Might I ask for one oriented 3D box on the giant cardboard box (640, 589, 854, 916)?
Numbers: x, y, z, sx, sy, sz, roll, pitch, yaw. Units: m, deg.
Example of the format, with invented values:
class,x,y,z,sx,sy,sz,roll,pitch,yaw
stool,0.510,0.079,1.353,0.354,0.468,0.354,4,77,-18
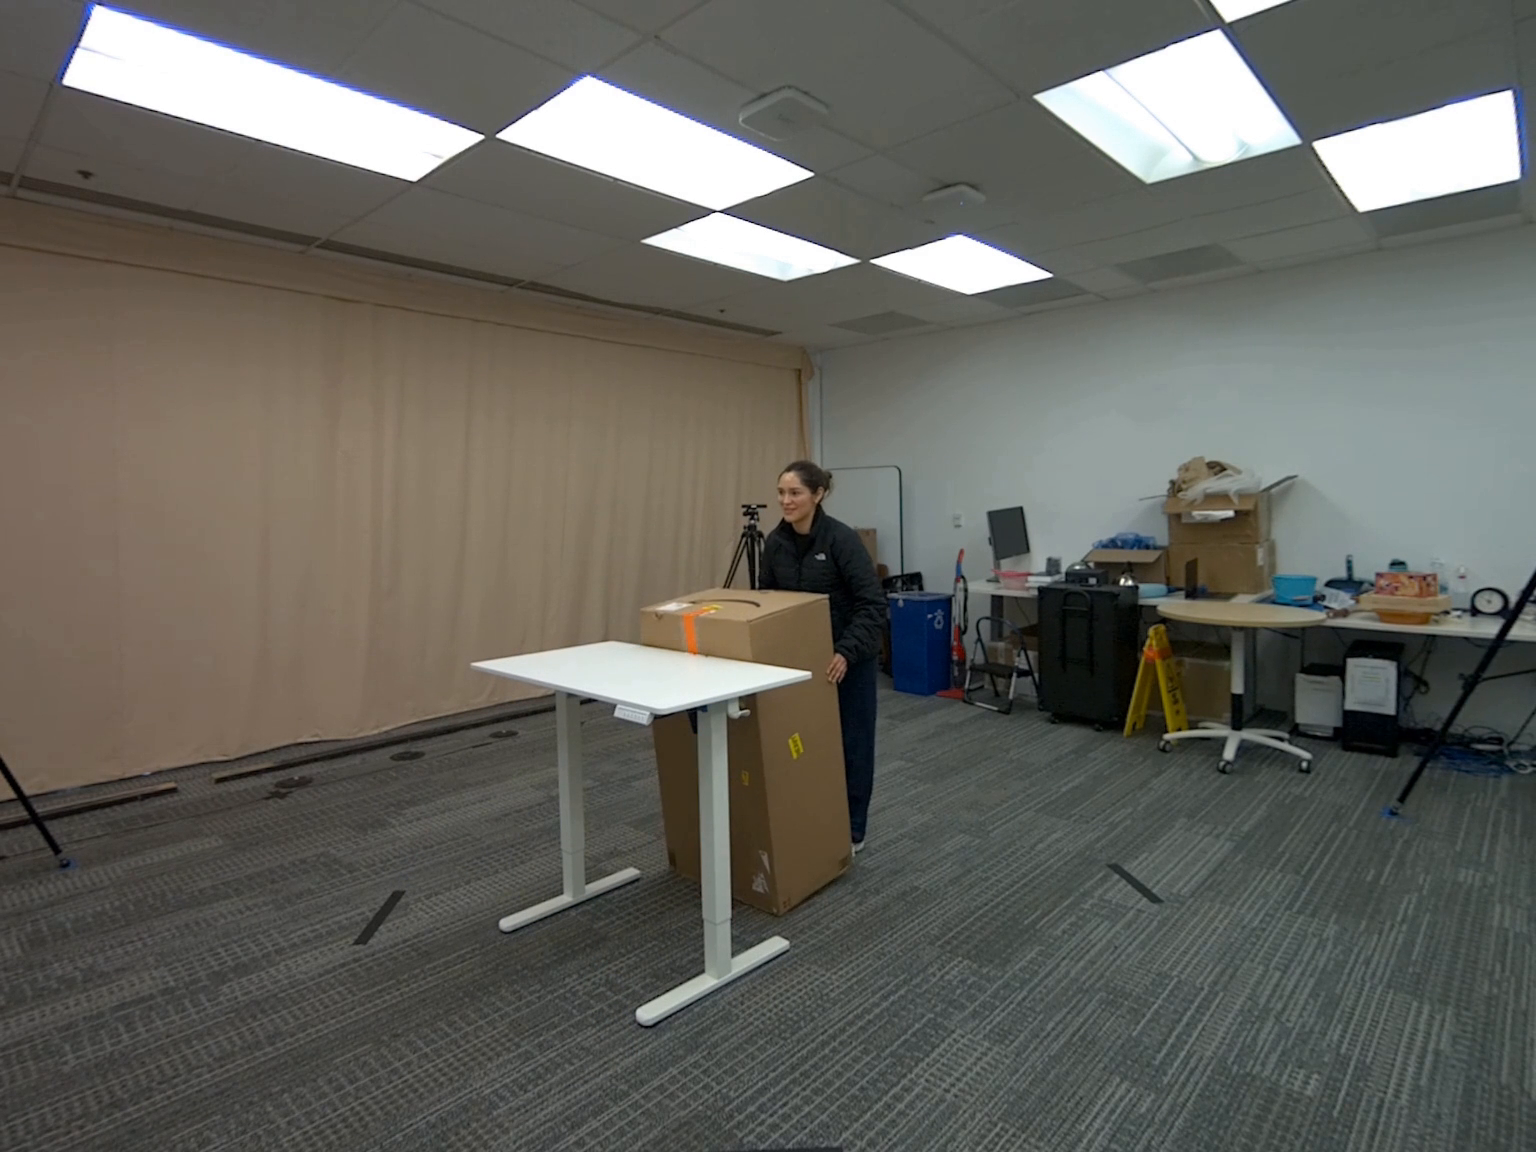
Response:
class,x,y,z,sx,sy,sz,roll,pitch,yaw
giant cardboard box,-0.077,0.598,3.117,0.435,1.021,0.603,-13,11,-43
